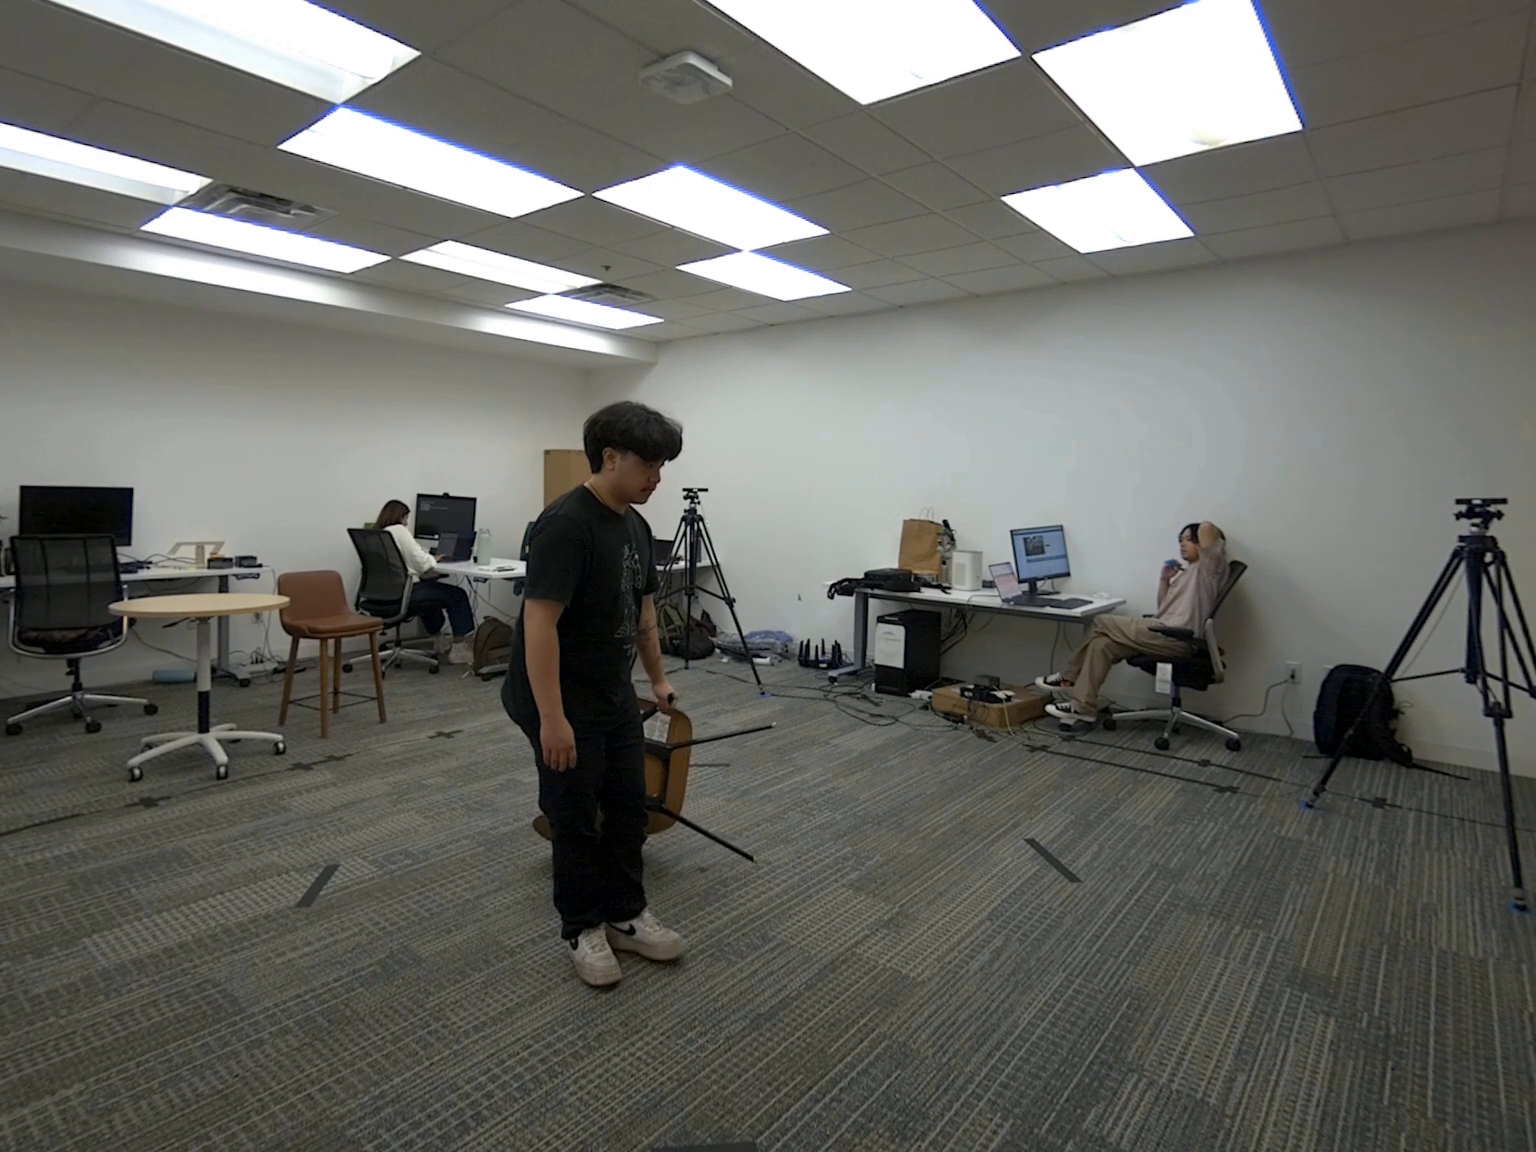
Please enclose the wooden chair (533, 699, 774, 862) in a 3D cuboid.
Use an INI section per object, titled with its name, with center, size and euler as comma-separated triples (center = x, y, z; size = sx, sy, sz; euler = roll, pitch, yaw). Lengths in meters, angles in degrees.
[wooden chair]
center = -0.464, 0.701, 3.039
size = 0.460, 0.532, 0.895
euler = 24, -27, -36
